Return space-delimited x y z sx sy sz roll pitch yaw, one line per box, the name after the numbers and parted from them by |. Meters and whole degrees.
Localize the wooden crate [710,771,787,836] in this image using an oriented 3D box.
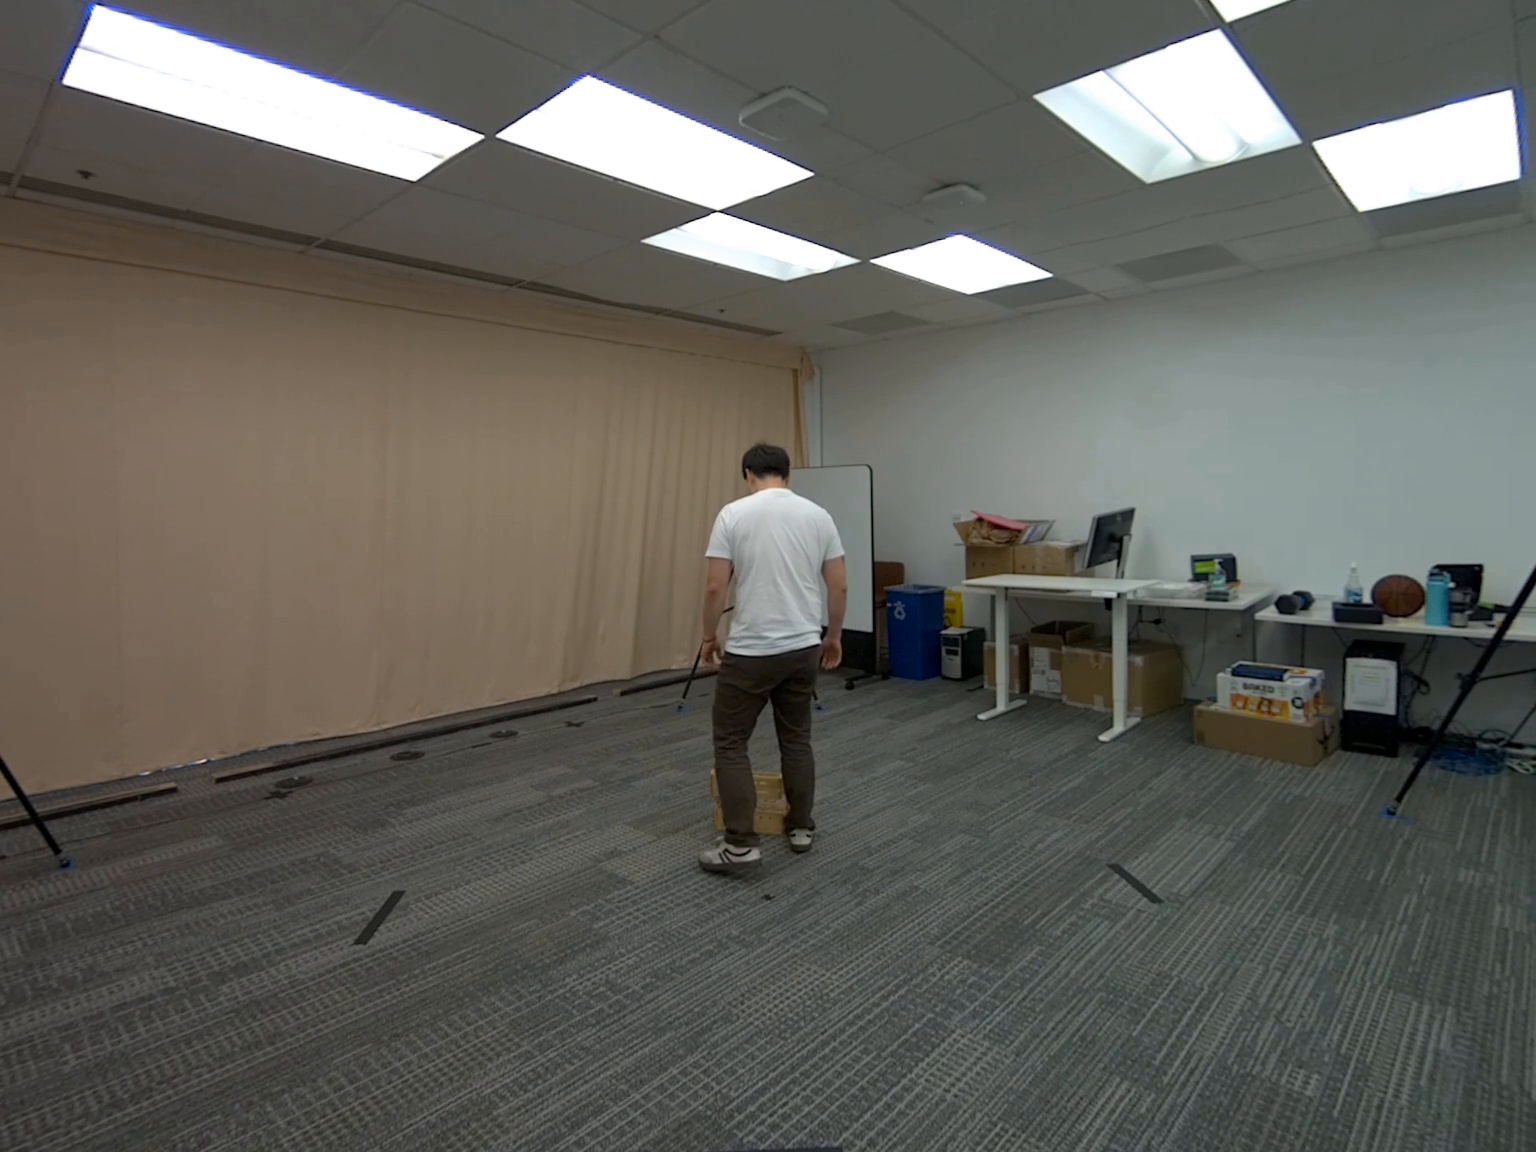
-0.062 0.951 3.668 0.329 0.273 0.298 0 4 12 | wooden crate
